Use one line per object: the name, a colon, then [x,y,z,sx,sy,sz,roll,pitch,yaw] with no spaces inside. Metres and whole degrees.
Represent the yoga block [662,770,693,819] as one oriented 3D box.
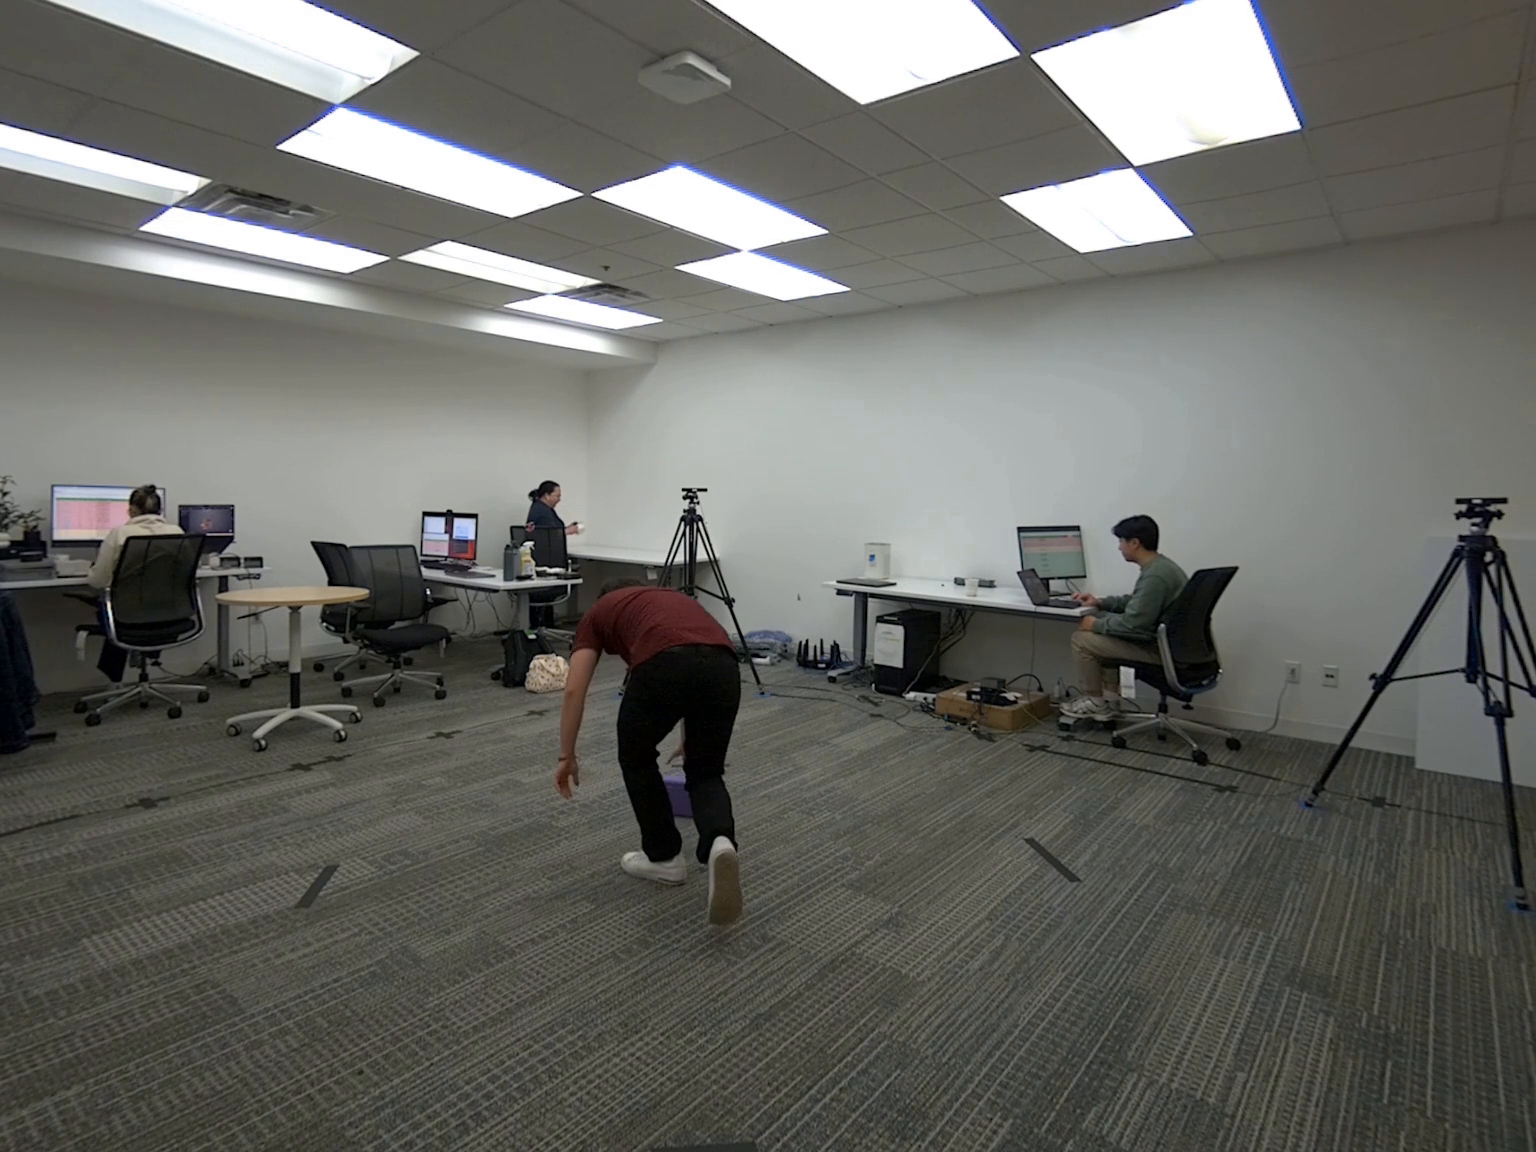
yoga block: [-0.380,0.930,3.628,0.233,0.149,0.075,3,1,15]
